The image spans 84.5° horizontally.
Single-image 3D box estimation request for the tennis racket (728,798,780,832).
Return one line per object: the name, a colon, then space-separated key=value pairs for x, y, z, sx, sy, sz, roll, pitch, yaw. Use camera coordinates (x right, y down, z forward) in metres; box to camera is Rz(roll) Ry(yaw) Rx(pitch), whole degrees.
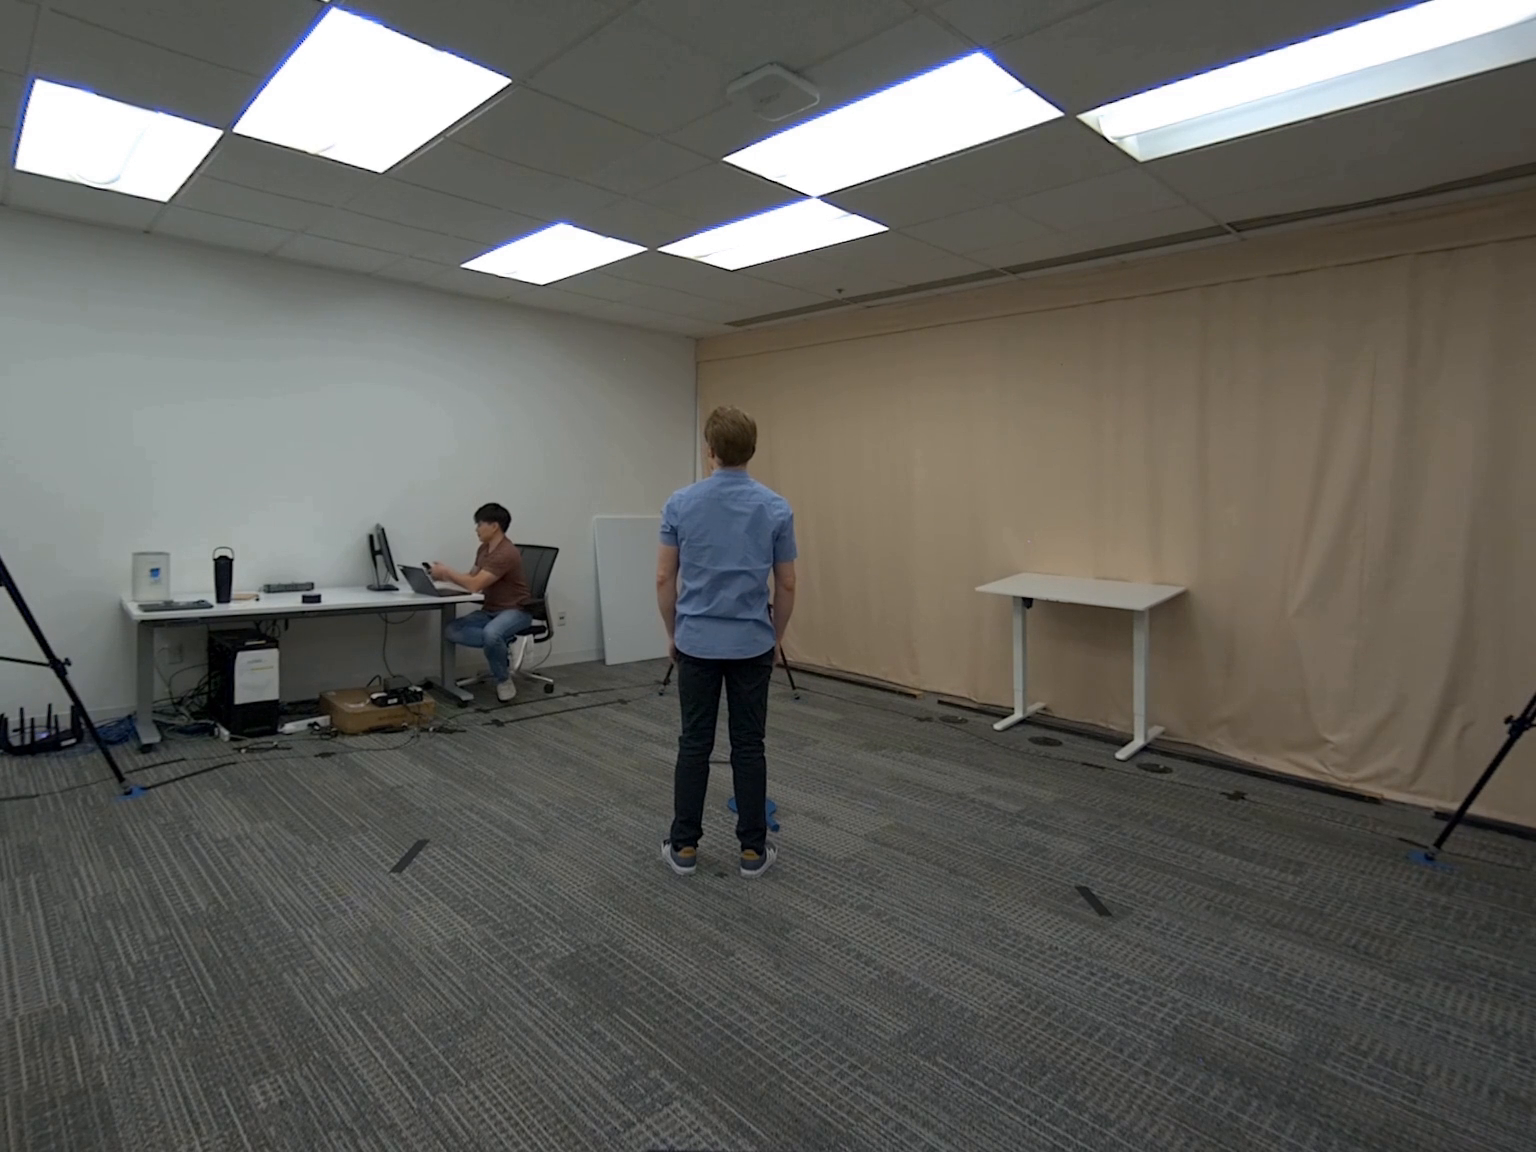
tennis racket: x=-0.050 y=1.037 z=3.727 sx=0.210 sy=0.032 sz=0.440 roll=0 pitch=4 yaw=-22
